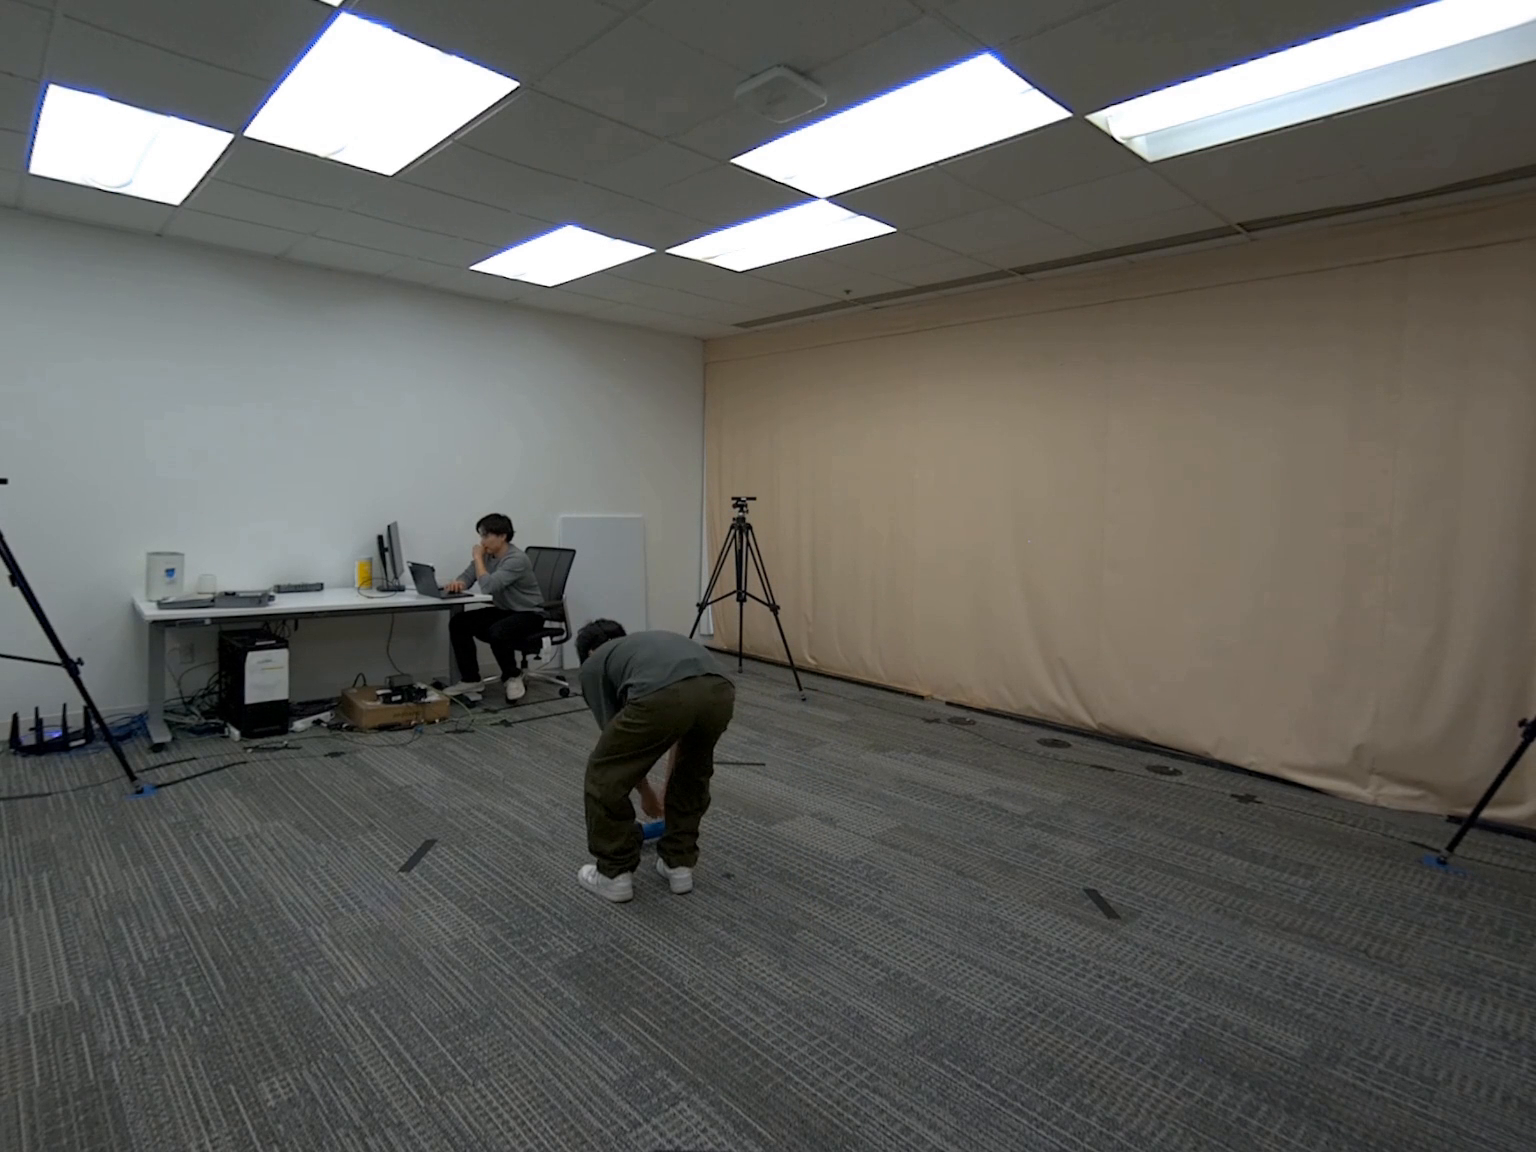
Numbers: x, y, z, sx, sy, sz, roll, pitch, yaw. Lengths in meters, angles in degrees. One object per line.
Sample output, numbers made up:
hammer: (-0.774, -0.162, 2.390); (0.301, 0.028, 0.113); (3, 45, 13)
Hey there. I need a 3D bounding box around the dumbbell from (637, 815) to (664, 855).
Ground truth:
dumbbell: (-0.462, 1.025, 3.376); (0.287, 0.125, 0.109); (-2, -25, -34)
